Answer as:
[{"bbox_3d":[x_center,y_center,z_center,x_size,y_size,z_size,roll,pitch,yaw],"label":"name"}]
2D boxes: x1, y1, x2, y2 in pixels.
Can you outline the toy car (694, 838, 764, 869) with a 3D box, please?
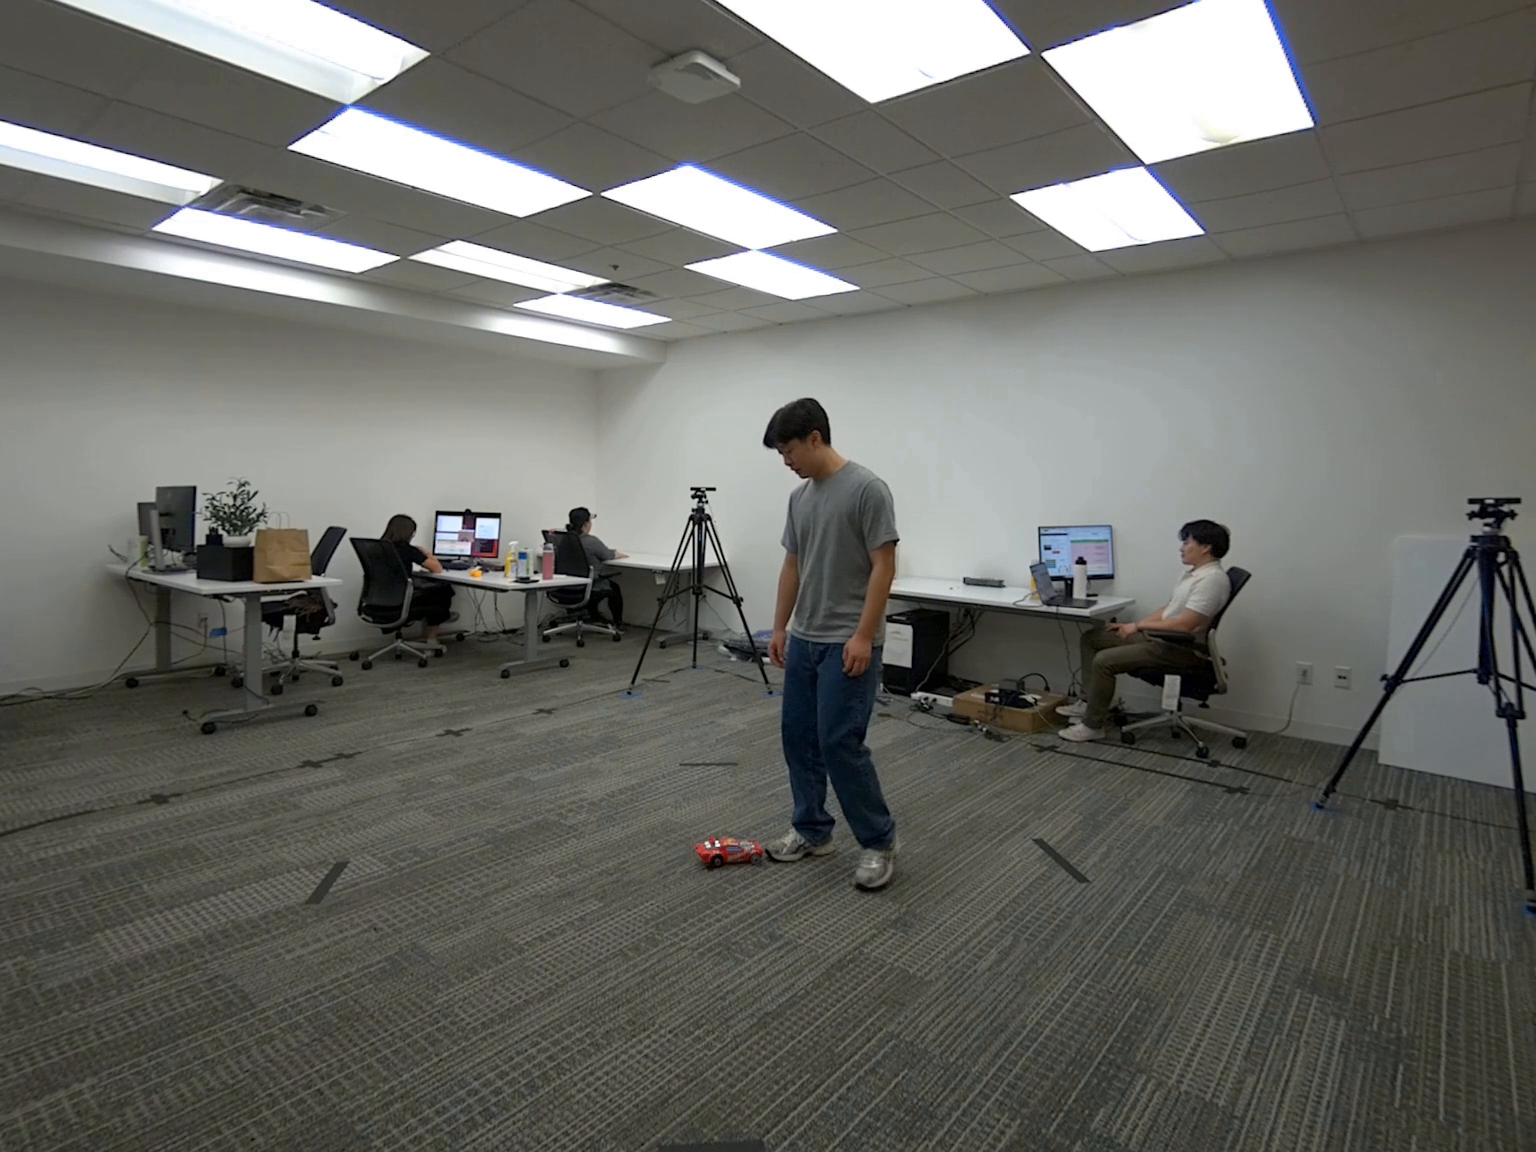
[{"bbox_3d":[-0.161,1.028,3.176,0.251,0.083,0.132,11,4,-12],"label":"toy car"}]
